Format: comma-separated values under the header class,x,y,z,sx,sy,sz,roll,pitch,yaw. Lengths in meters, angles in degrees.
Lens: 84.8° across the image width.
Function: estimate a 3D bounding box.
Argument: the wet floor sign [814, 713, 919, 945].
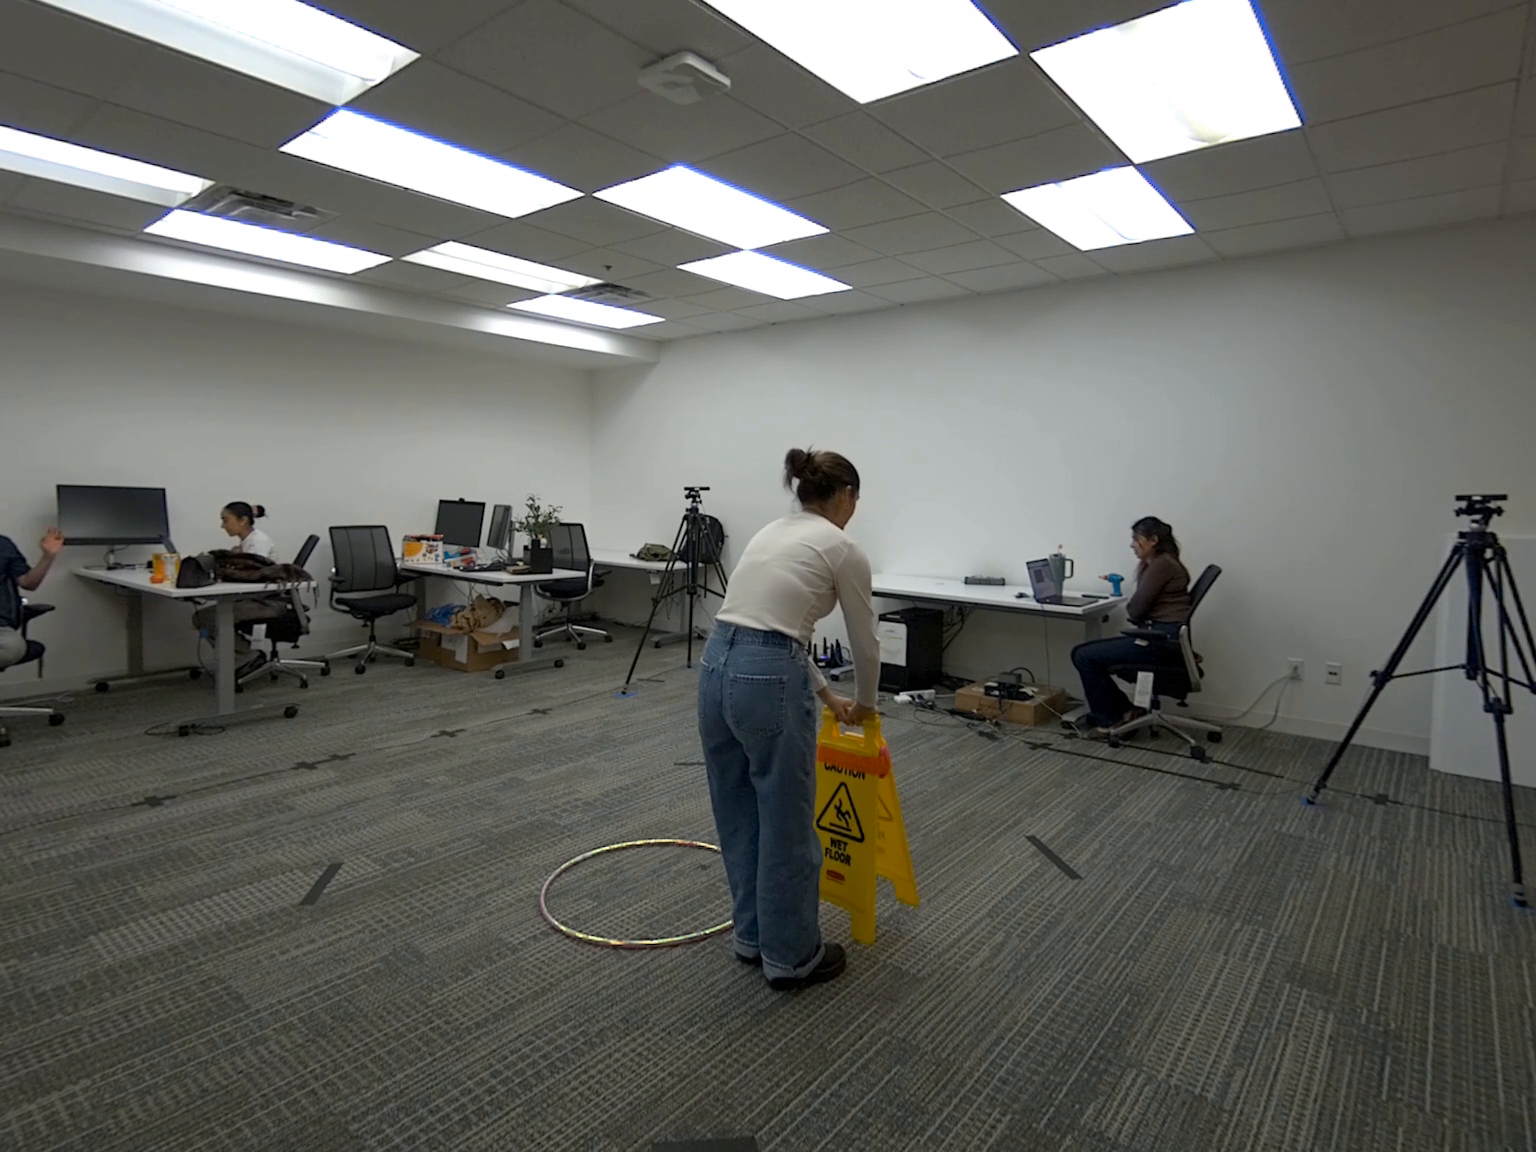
class,x,y,z,sx,sy,sz,roll,pitch,yaw
wet floor sign,0.264,0.723,2.645,0.292,0.643,0.282,3,7,41
